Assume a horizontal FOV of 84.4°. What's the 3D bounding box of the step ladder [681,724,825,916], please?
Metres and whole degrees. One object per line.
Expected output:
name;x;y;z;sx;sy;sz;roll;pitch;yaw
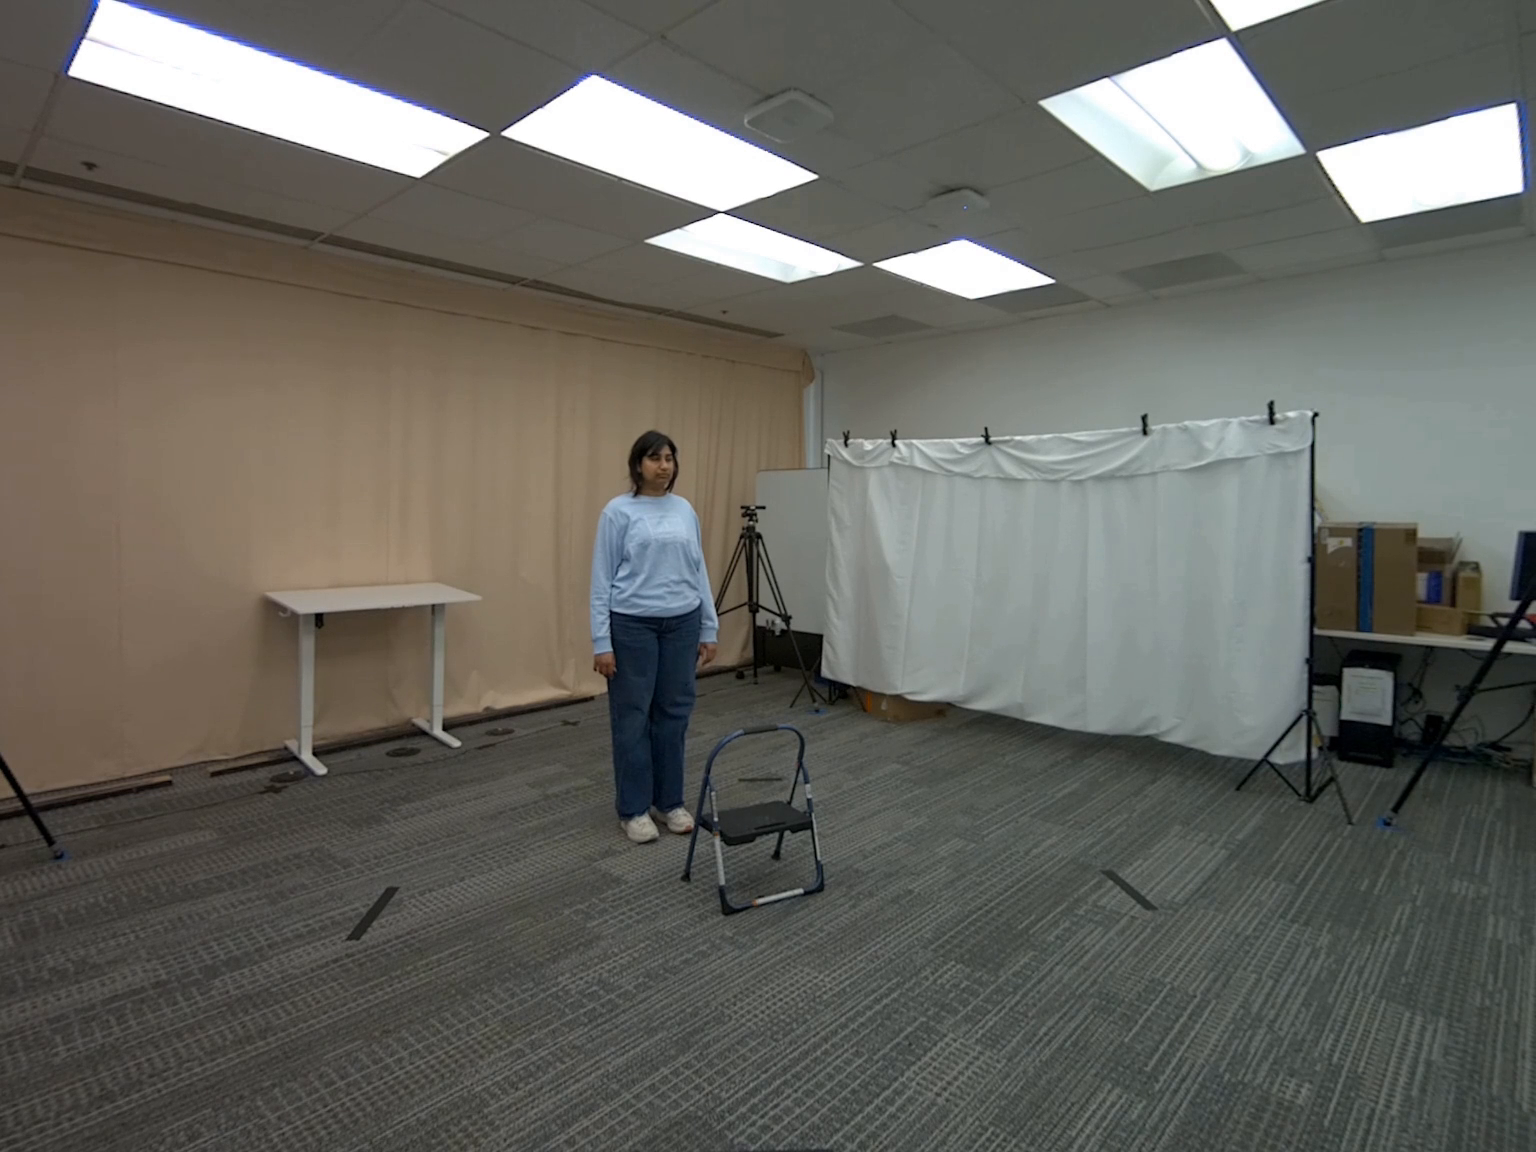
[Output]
step ladder;-0.059;0.828;3.082;0.419;0.605;0.359;-3;4;-30
